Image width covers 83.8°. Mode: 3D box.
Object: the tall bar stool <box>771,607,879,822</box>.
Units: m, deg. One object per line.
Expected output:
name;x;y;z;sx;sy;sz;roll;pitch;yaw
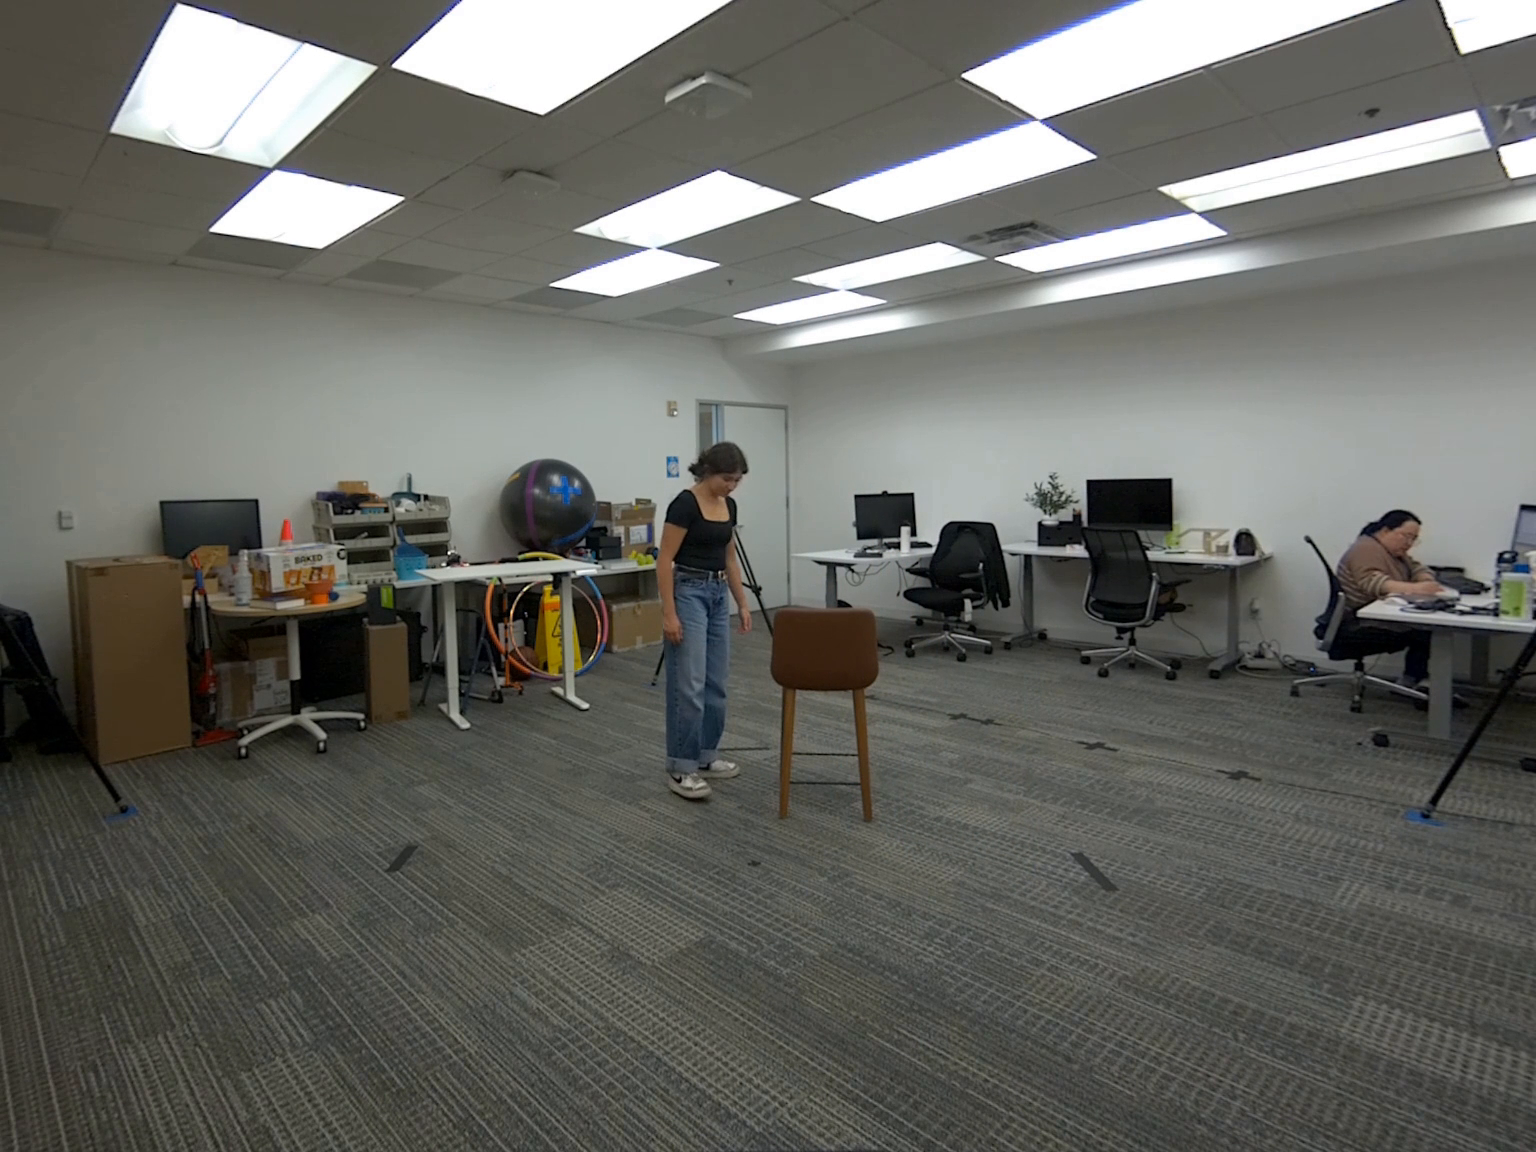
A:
tall bar stool;0.245;0.544;3.678;0.460;0.885;0.467;0;6;6
